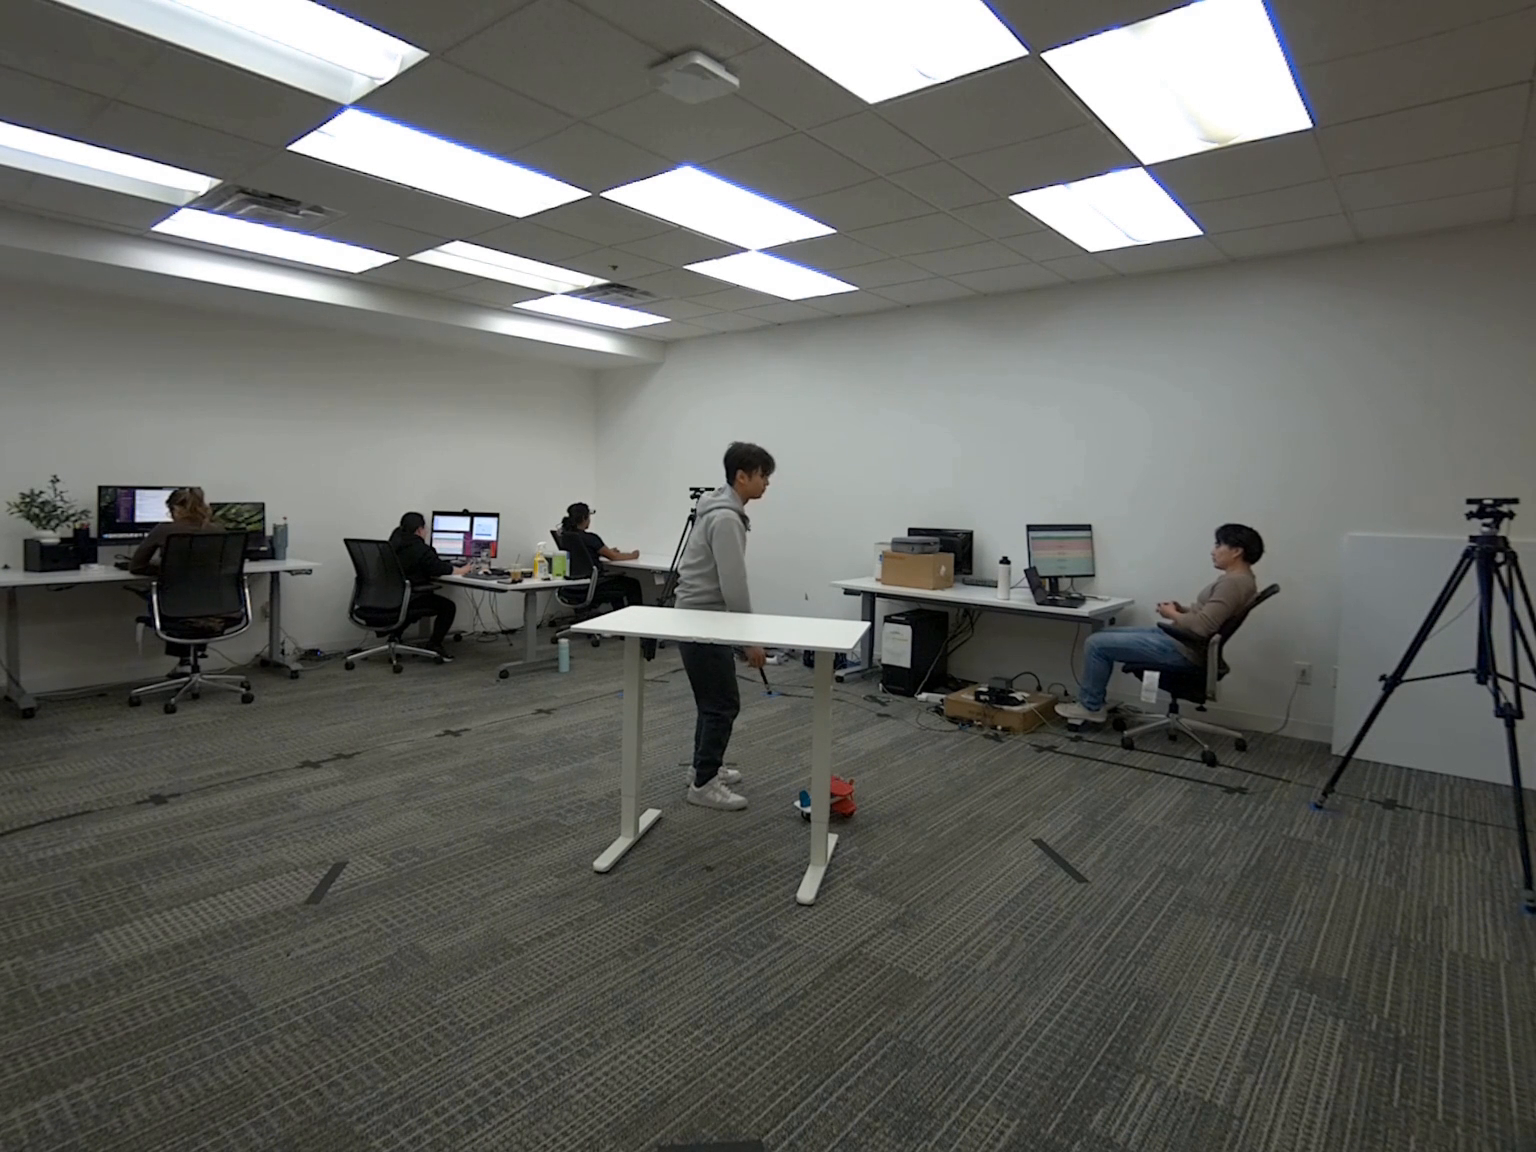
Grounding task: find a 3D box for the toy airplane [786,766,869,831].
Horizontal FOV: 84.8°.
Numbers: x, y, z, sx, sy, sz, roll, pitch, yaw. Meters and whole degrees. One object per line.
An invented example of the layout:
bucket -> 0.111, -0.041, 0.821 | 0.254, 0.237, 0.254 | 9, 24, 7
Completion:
toy airplane -> 0.256, 0.950, 3.619 | 0.259, 0.156, 0.252 | 3, 4, 33
